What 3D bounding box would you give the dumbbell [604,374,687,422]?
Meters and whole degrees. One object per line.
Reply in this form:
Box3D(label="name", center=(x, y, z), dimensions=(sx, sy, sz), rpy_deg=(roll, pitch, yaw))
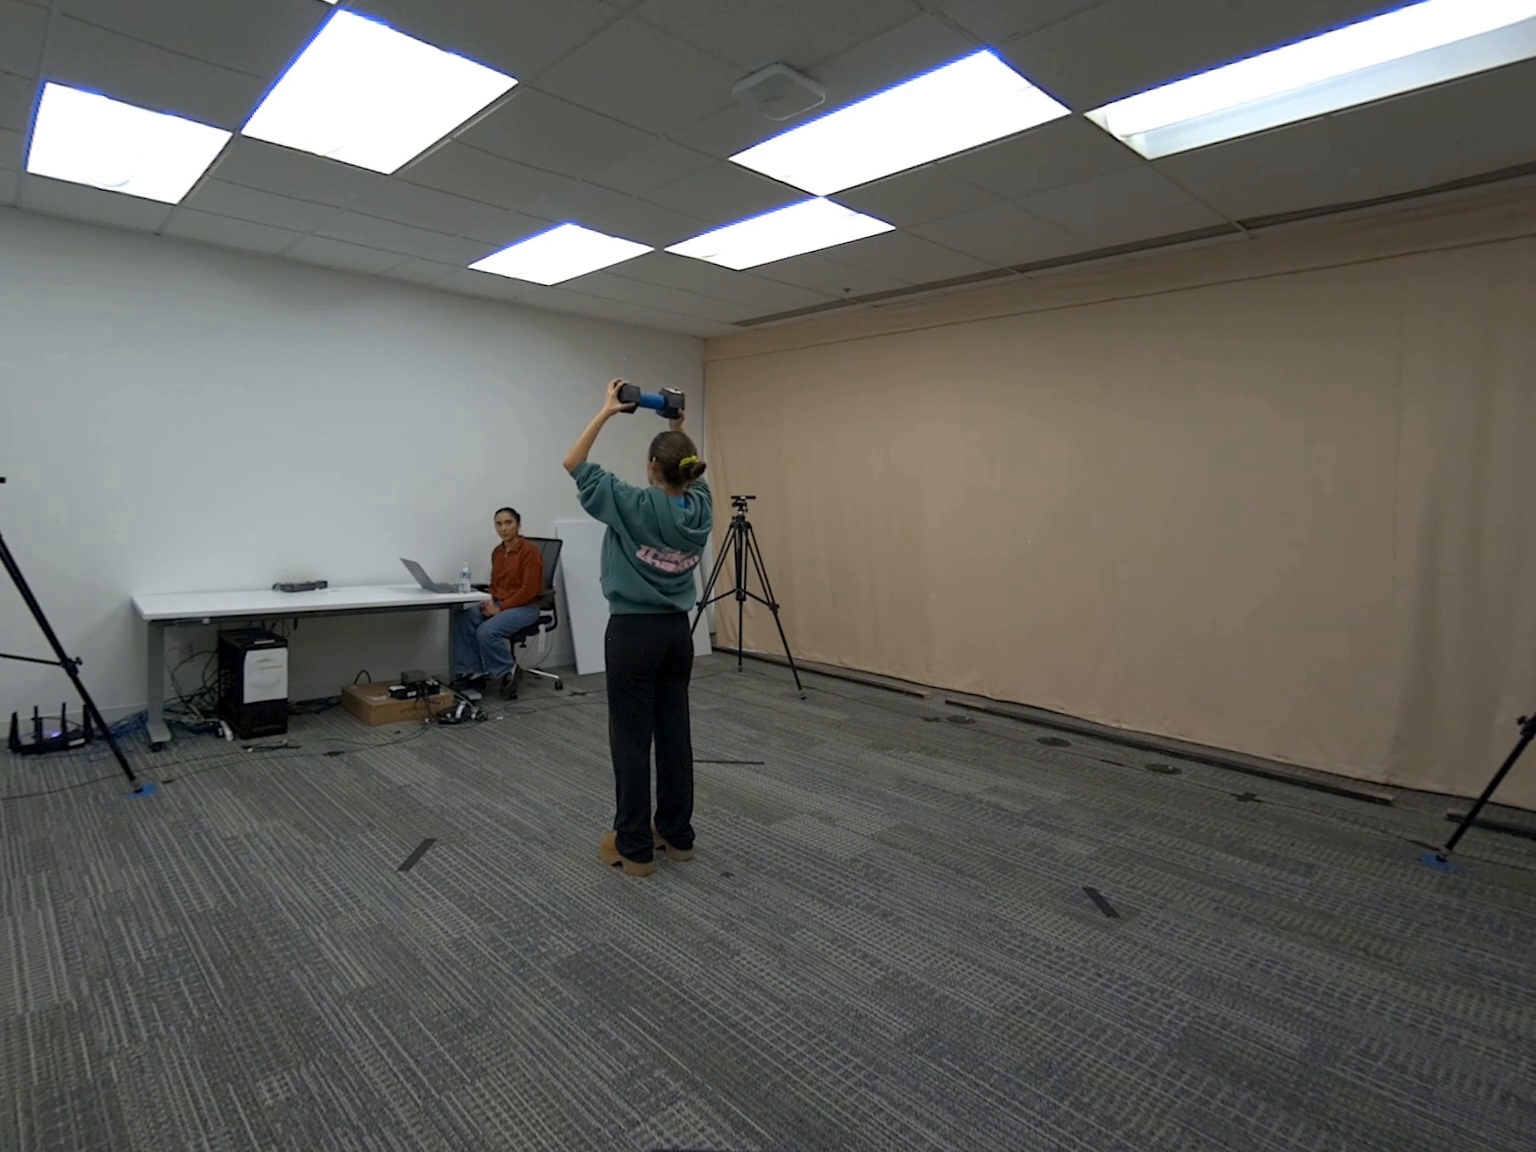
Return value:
Box3D(label="dumbbell", center=(-0.466, -0.676, 3.223), dimensions=(0.287, 0.123, 0.111), rpy_deg=(-1, -6, -43))
